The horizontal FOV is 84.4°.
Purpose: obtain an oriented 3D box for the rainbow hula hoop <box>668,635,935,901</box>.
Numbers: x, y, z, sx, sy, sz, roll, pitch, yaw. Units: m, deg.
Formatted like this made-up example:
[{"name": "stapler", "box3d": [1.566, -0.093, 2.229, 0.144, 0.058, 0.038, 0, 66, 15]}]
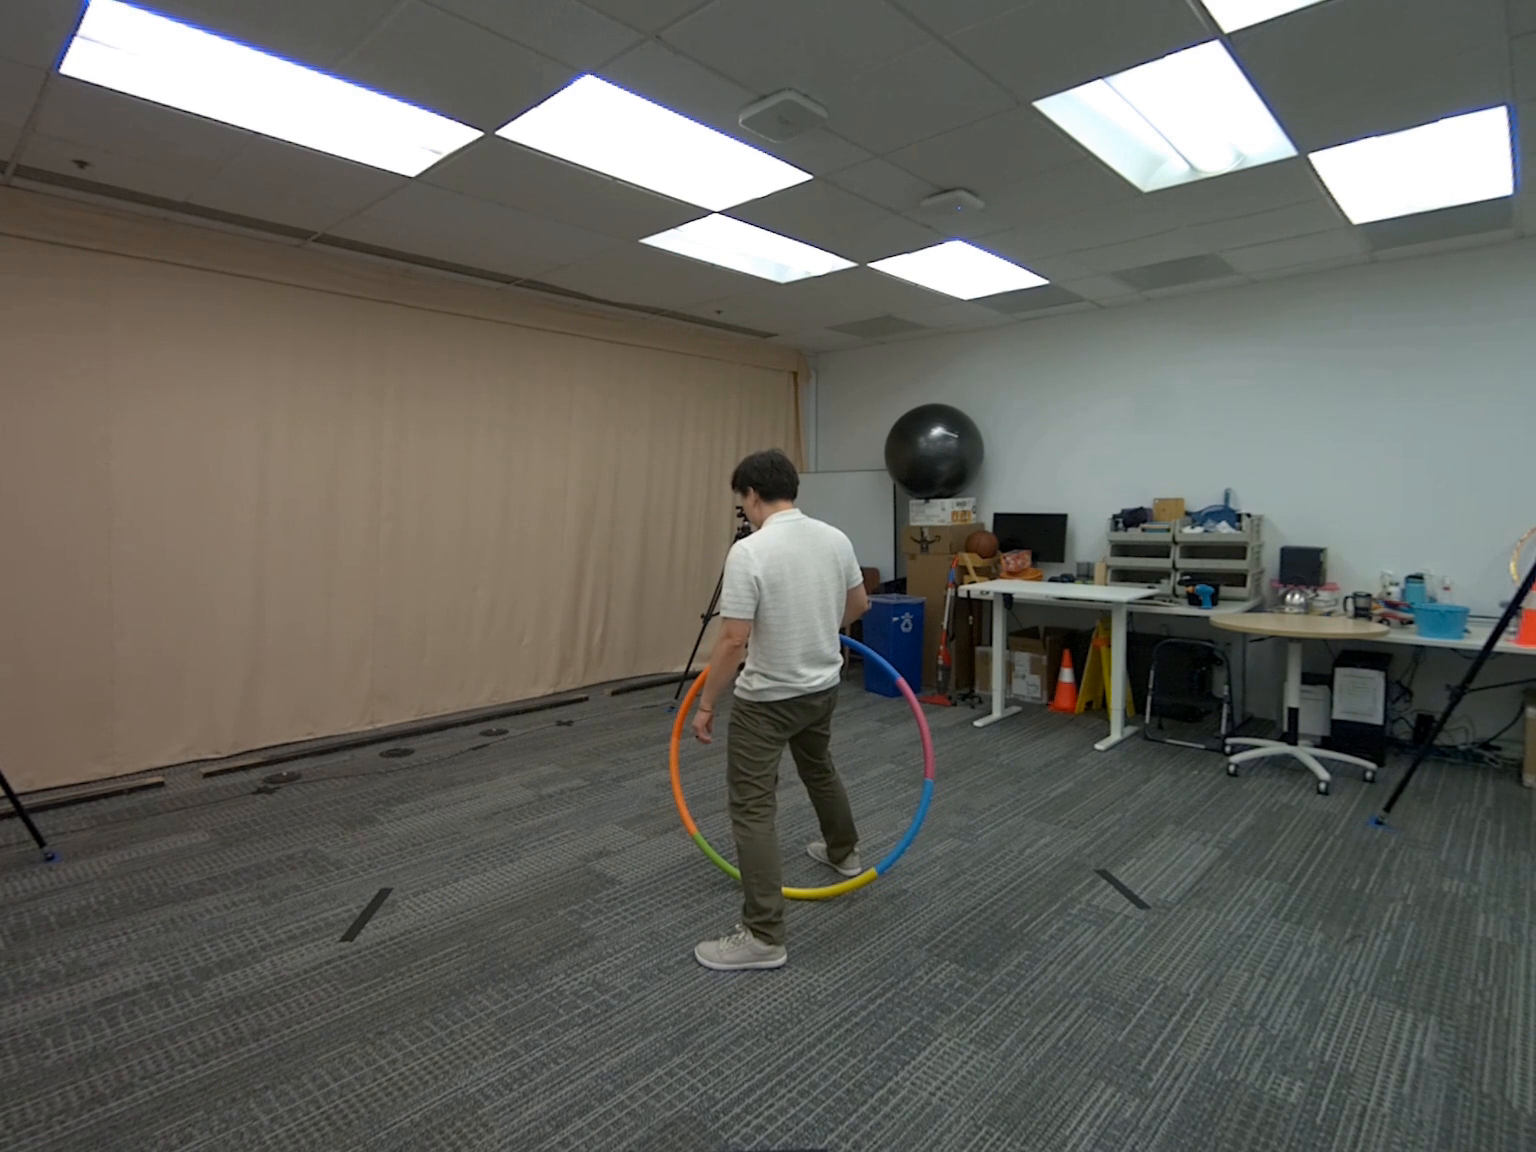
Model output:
[{"name": "rainbow hula hoop", "box3d": [0.104, 0.672, 3.120, 0.997, 0.986, 0.034, 1, -16, 18]}]
